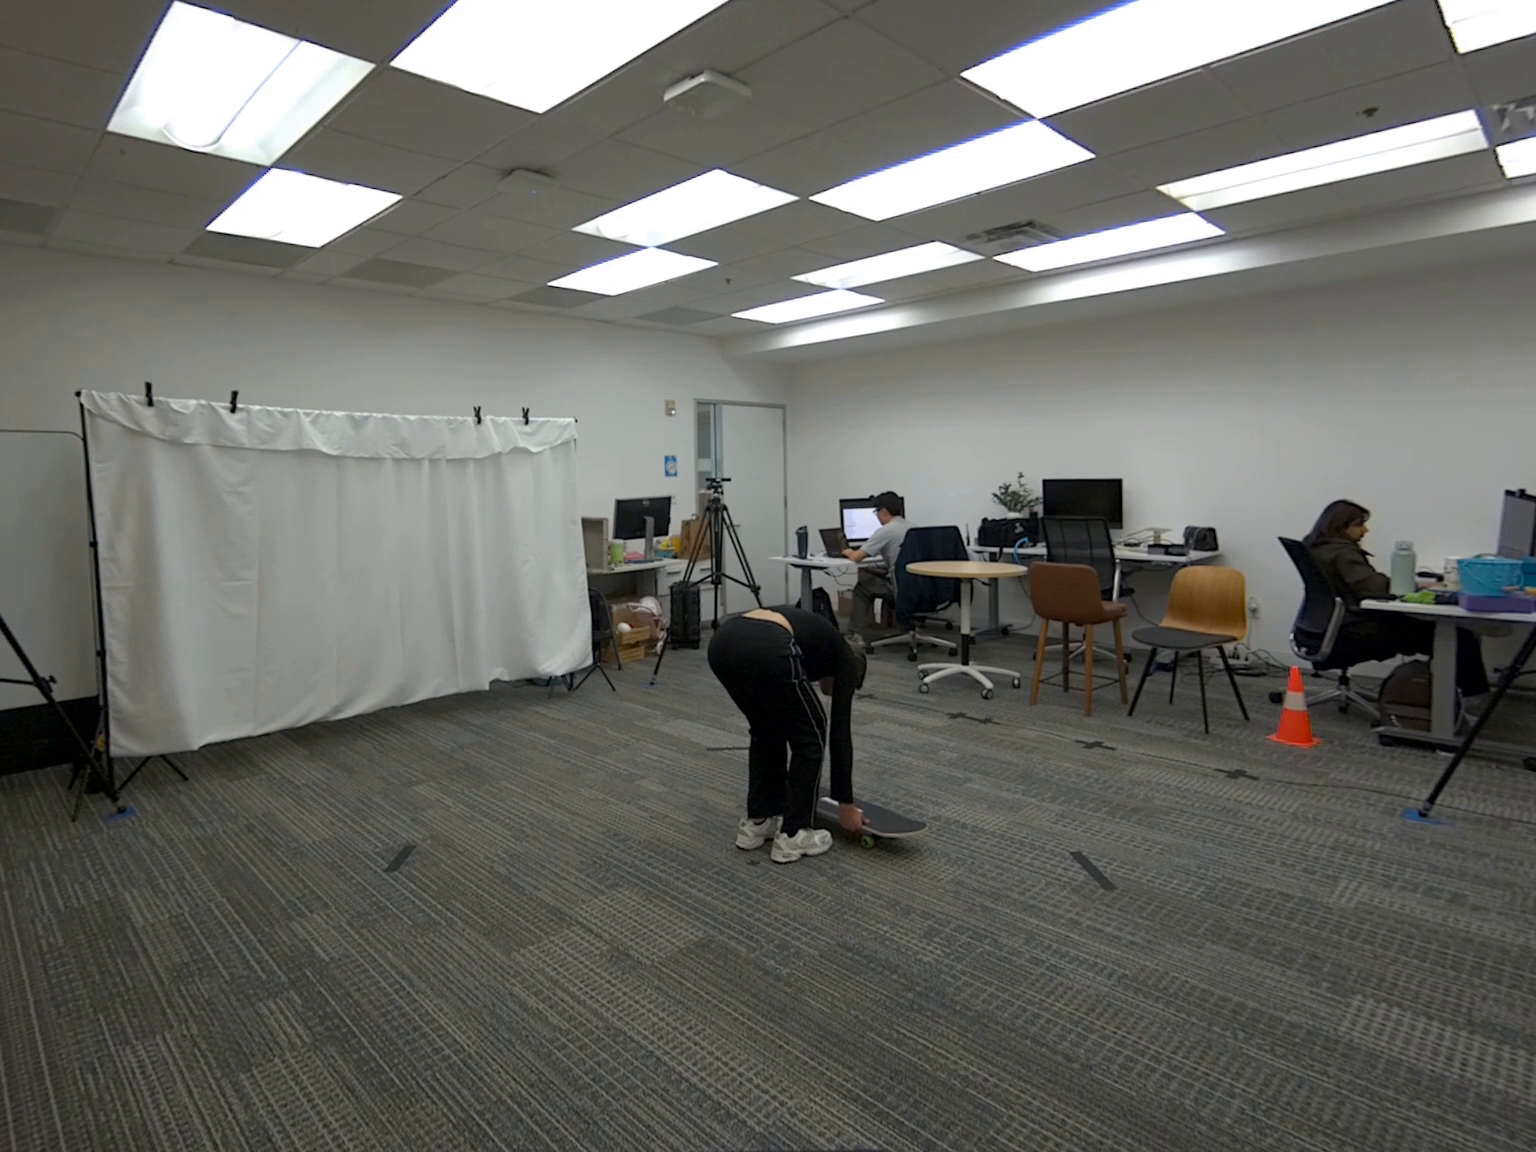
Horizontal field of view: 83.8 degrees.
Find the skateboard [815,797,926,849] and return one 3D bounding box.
[{"bbox_3d":[0.303,0.948,3.413,0.188,0.110,0.810,-5,8,-42],"label":"skateboard"}]
